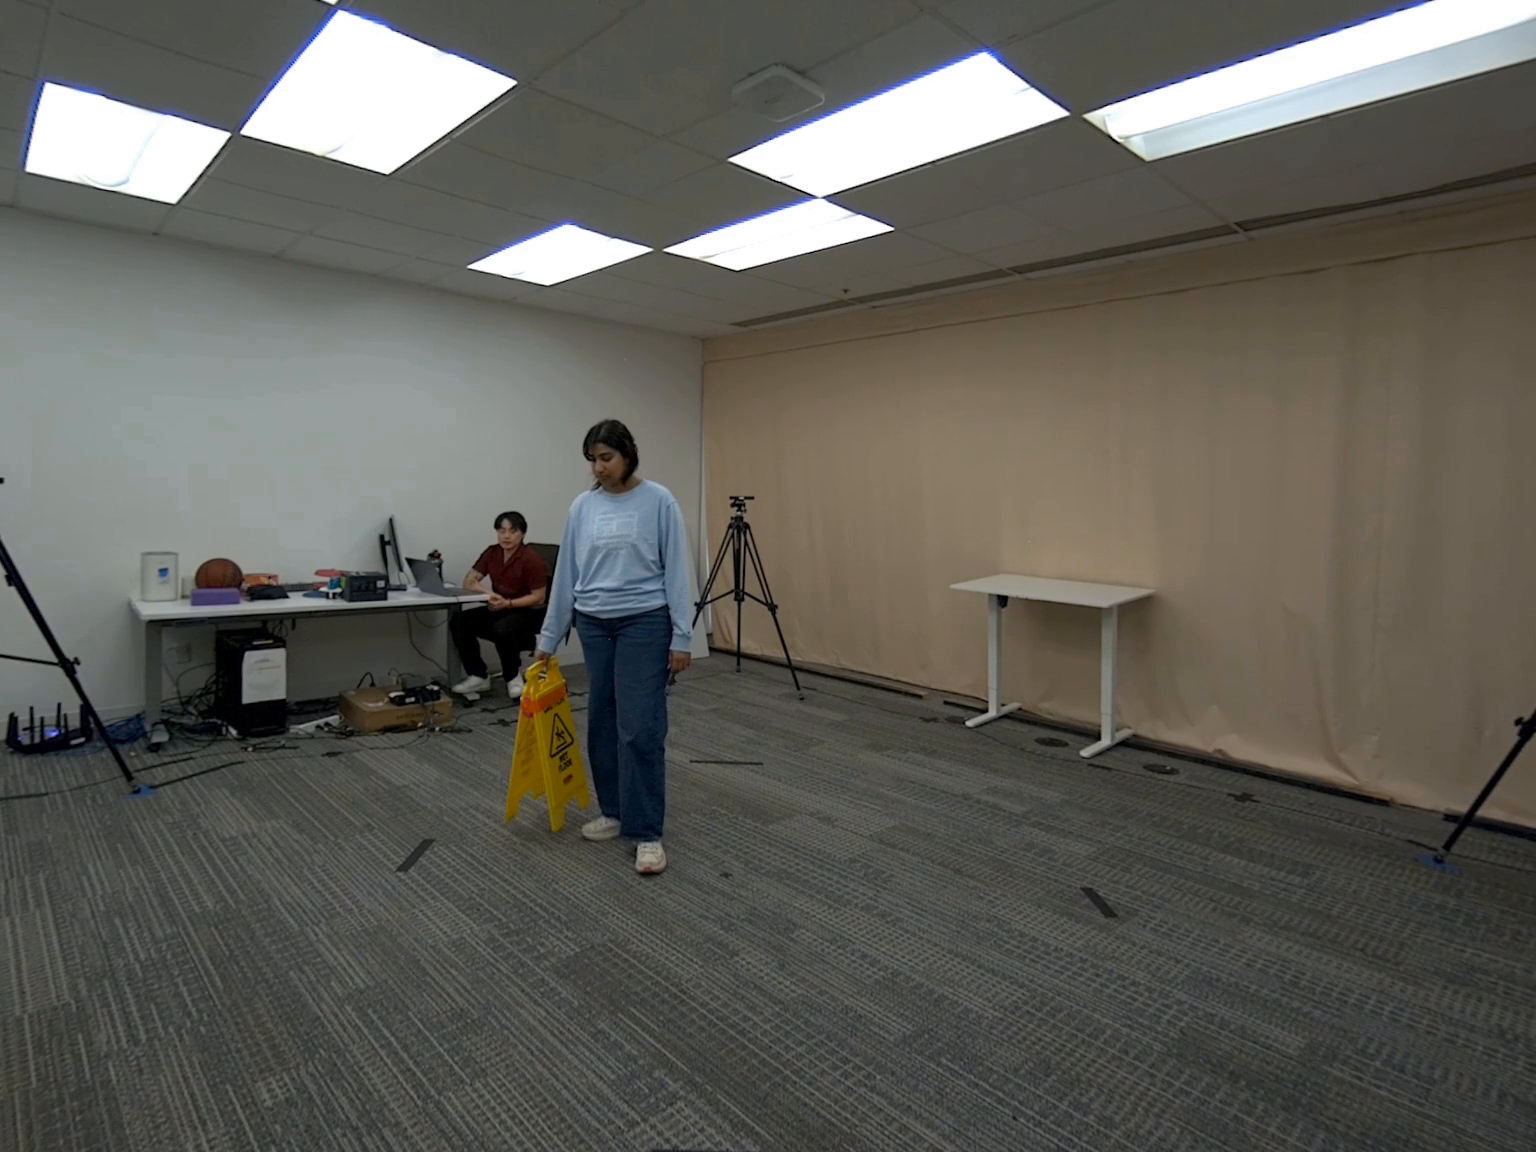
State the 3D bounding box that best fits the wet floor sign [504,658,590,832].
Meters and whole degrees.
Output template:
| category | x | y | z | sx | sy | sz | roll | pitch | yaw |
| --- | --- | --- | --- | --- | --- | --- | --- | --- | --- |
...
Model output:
| category | x | y | z | sx | sy | sz | roll | pitch | yaw |
| --- | --- | --- | --- | --- | --- | --- | --- | --- | --- |
| wet floor sign | -0.923 | 0.669 | 3.444 | 0.294 | 0.642 | 0.279 | 3 | 9 | 18 |
